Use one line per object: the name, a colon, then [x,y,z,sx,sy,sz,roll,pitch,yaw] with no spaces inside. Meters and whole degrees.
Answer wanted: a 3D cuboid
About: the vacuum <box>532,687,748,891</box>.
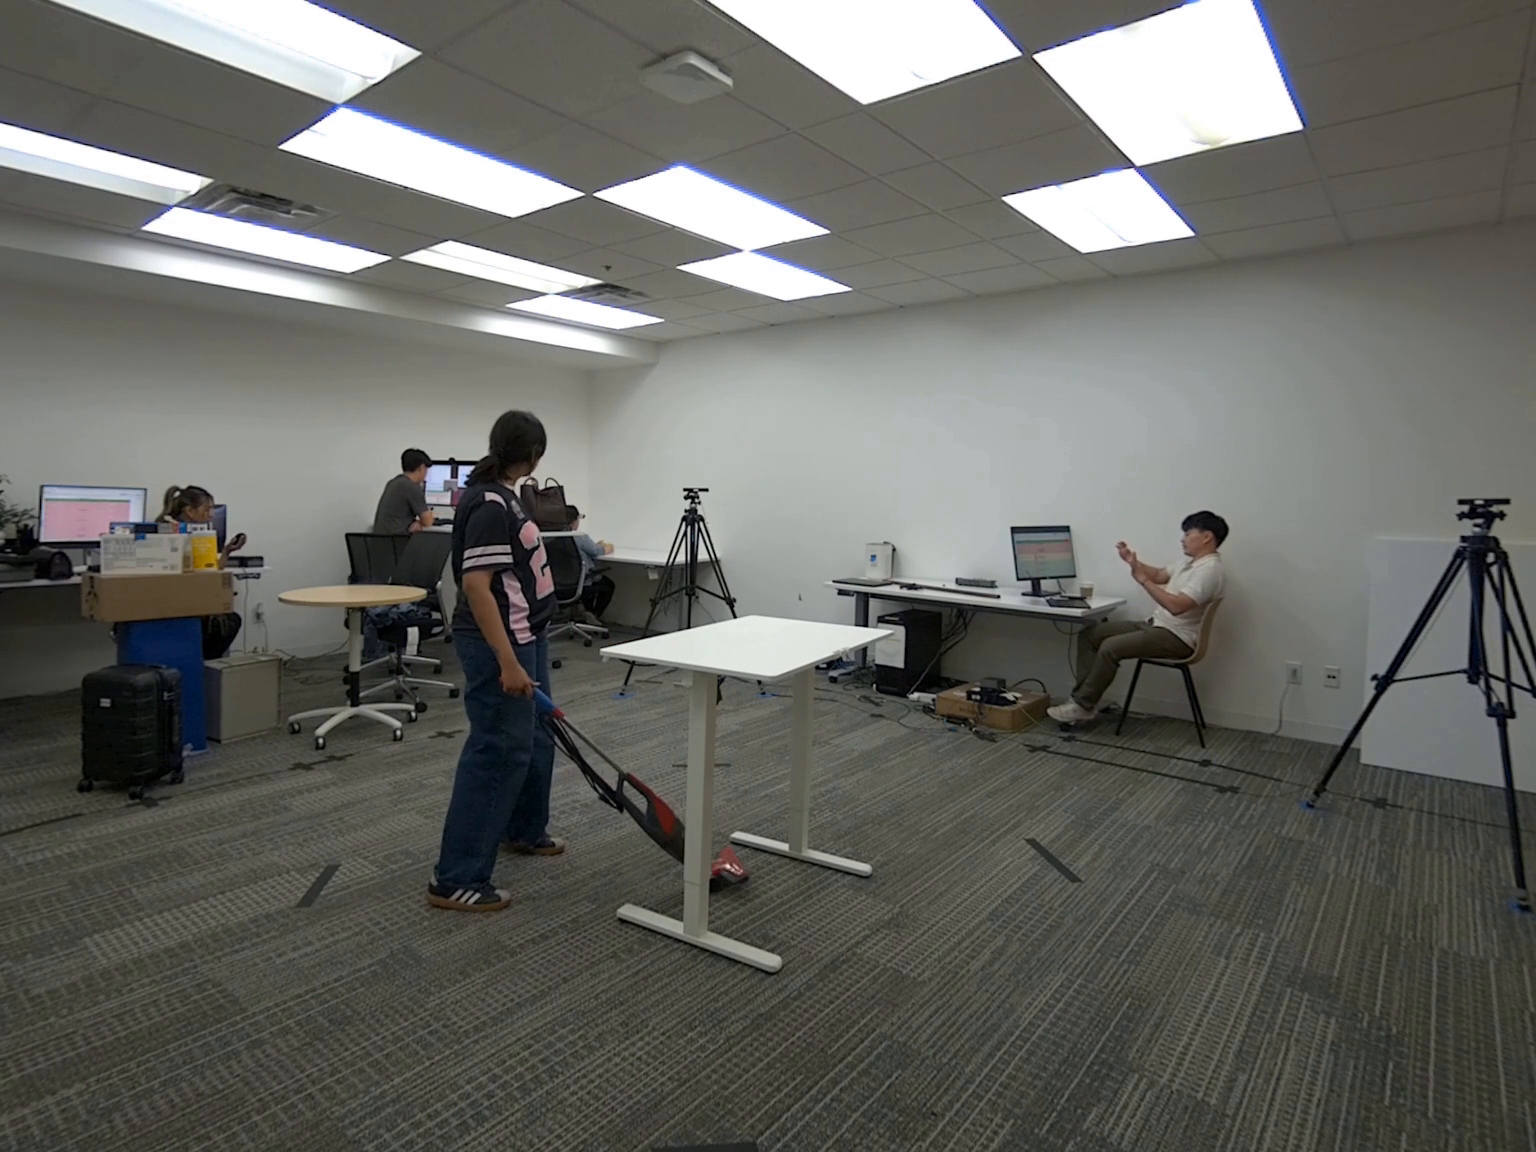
vacuum: [-0.531,0.706,2.889,1.030,0.144,0.257,45,-9,-13]
